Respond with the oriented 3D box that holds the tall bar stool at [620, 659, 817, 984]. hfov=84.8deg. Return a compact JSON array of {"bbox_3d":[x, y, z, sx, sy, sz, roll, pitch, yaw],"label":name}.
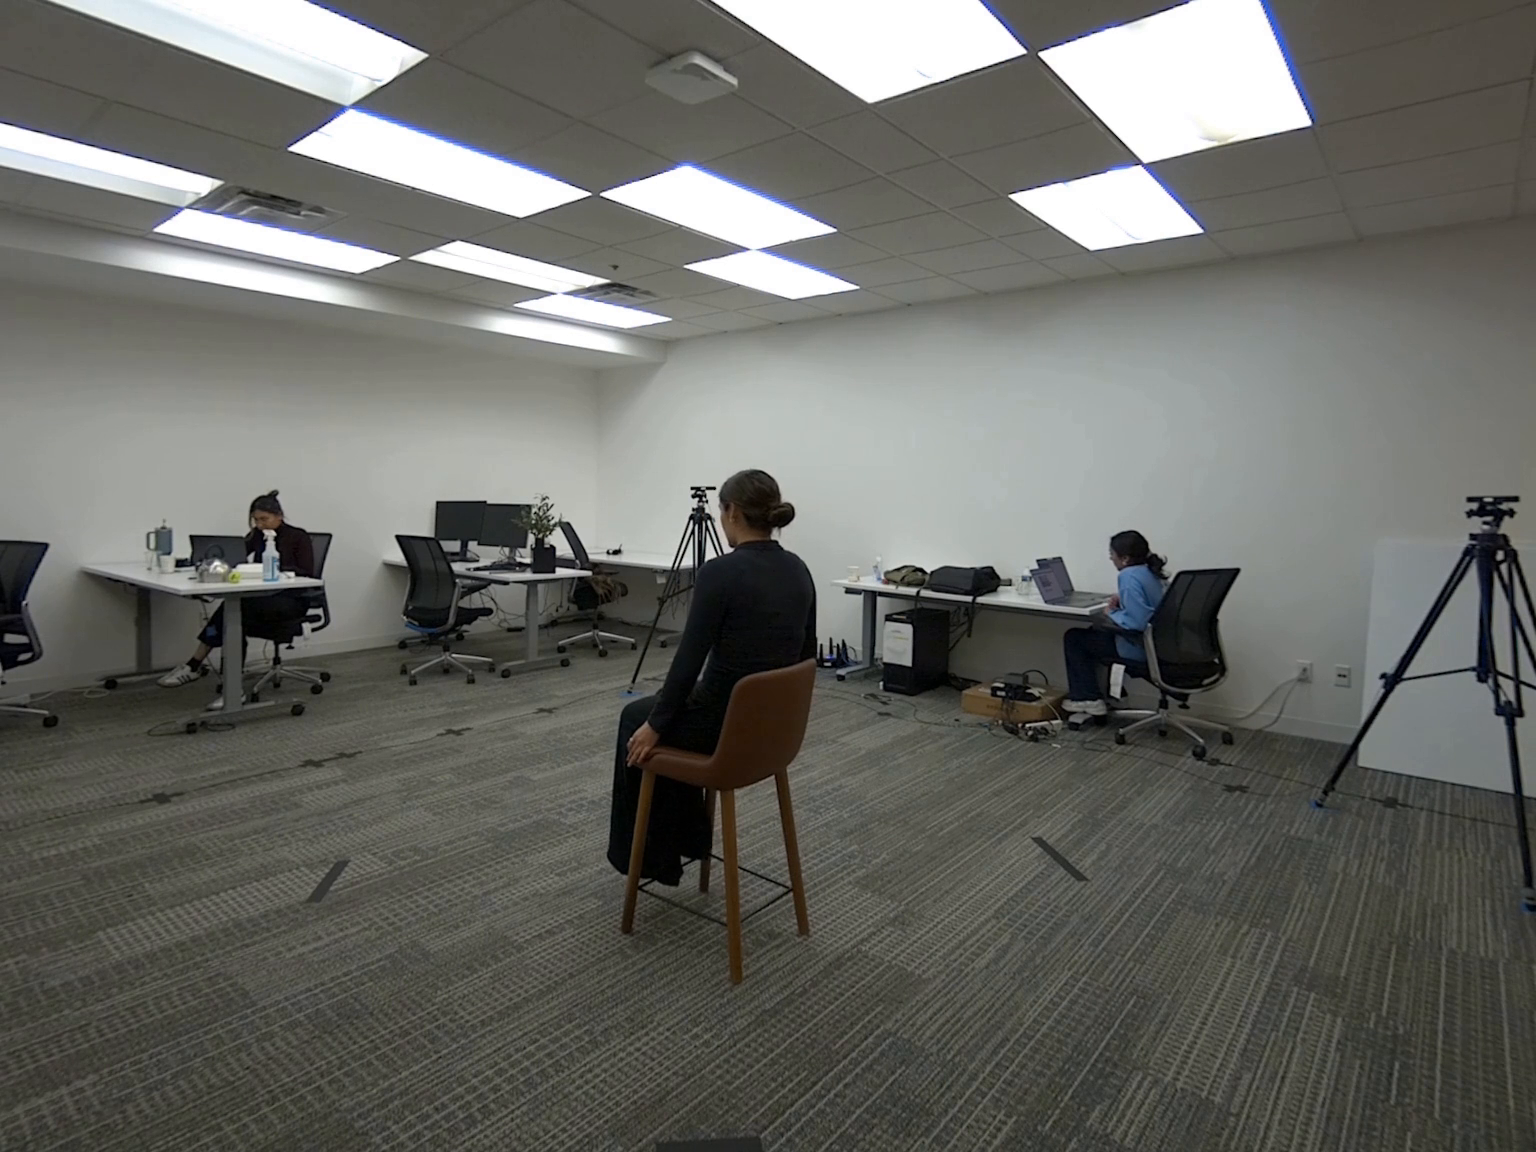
[{"bbox_3d":[-0.149,0.679,2.624,0.483,0.886,0.443,6,6,37],"label":"tall bar stool"}]
